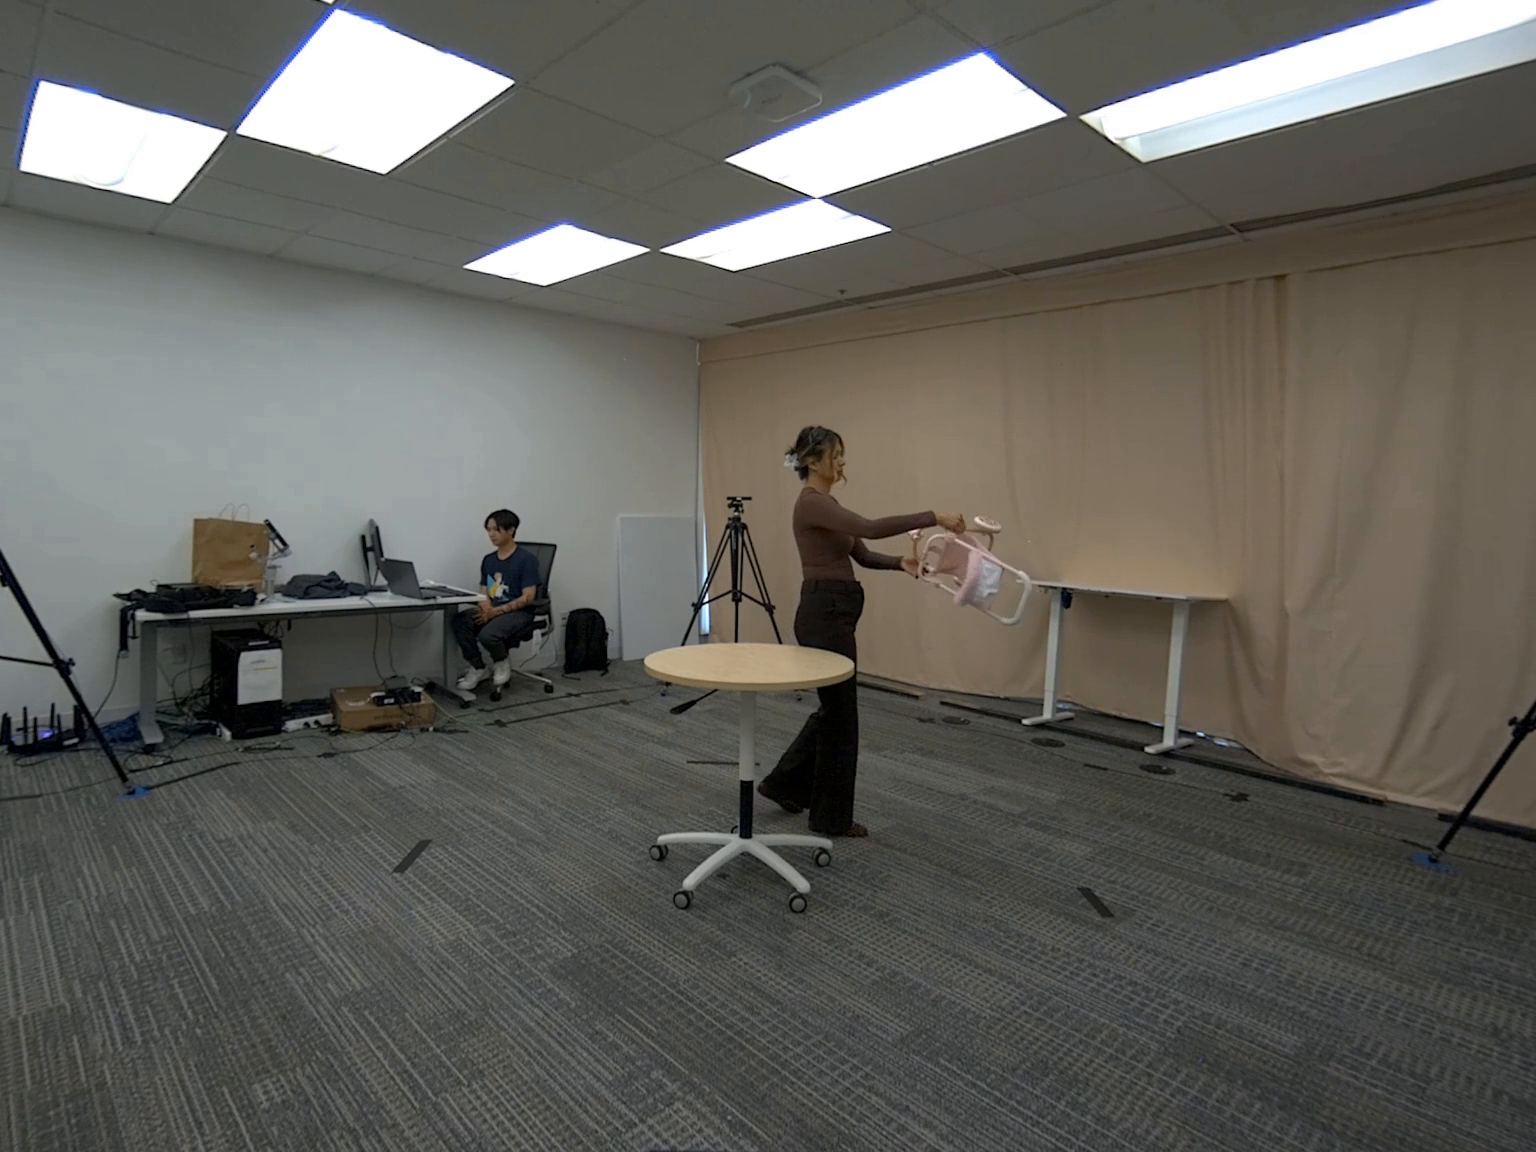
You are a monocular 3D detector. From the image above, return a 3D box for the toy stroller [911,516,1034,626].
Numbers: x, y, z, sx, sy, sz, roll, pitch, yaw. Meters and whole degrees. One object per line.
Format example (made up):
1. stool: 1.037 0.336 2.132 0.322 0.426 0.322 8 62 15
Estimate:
1. toy stroller: 0.713 -0.039 3.165 0.339 0.278 0.544 15 24 -8
